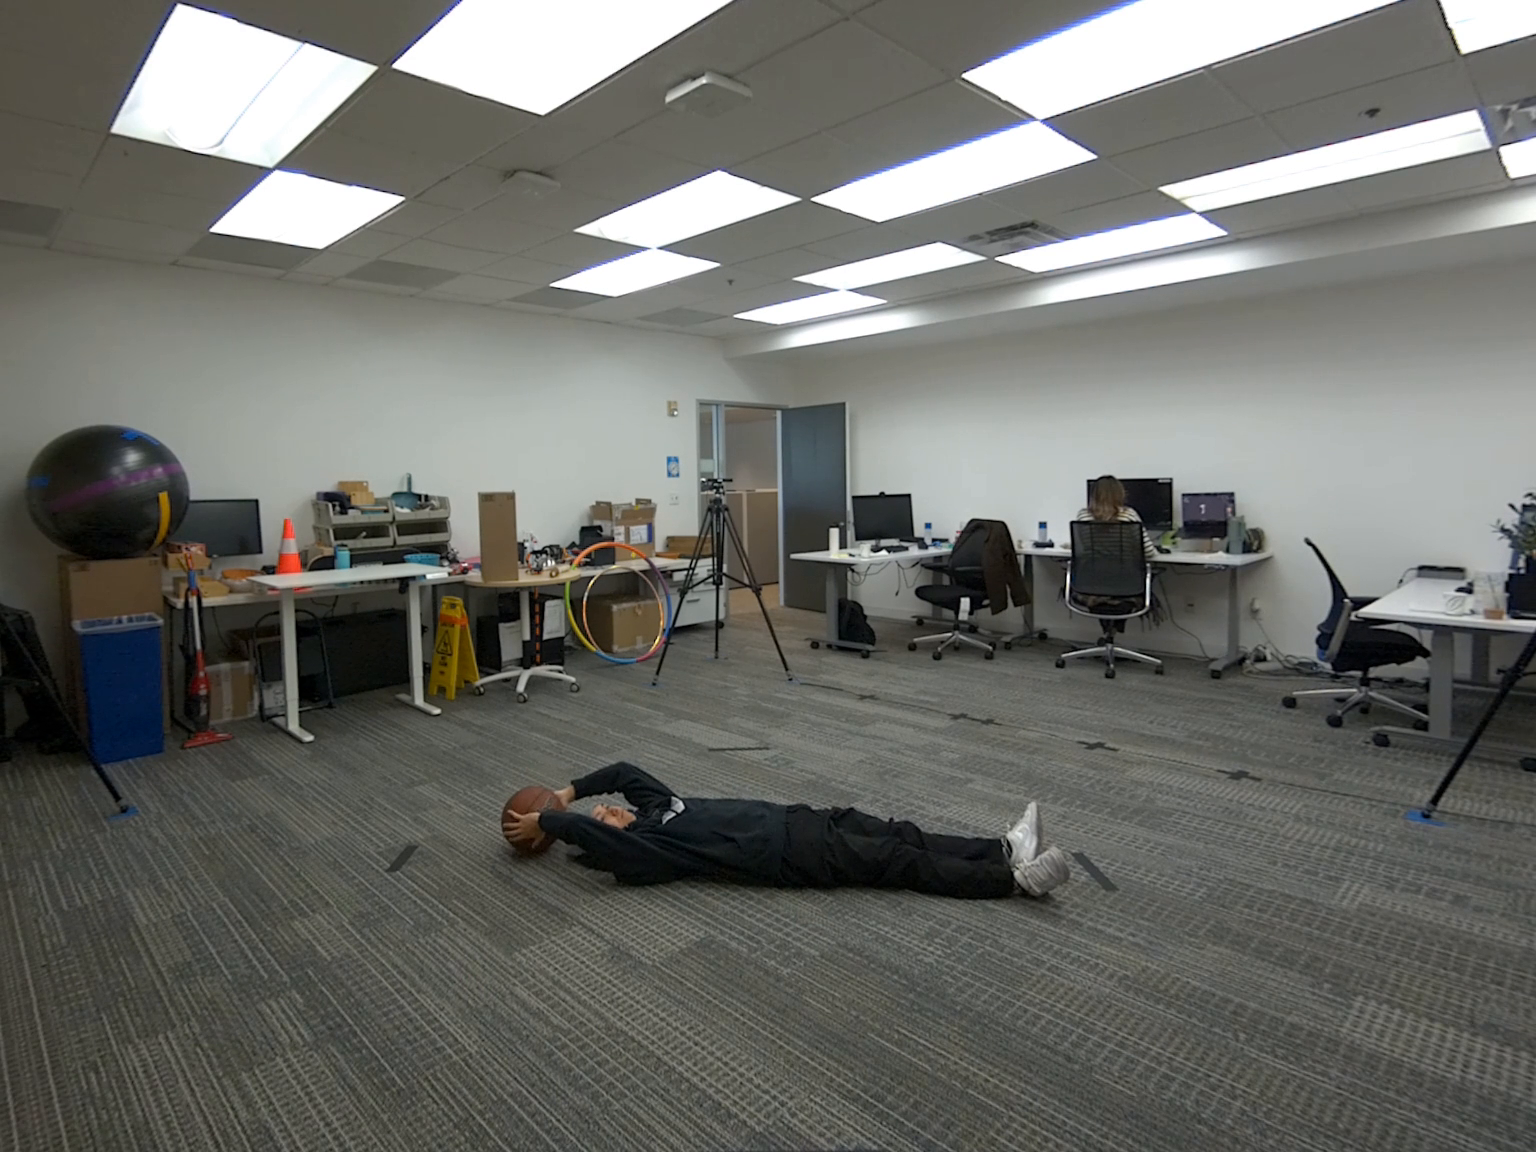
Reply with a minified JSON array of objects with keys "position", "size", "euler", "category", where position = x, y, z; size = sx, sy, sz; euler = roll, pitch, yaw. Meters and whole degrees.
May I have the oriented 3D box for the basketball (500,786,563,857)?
[{"position":[-0.898,0.925,3.262],"size":[0.236,0.235,0.237],"euler":[-1,5,-2],"category":"basketball"}]
